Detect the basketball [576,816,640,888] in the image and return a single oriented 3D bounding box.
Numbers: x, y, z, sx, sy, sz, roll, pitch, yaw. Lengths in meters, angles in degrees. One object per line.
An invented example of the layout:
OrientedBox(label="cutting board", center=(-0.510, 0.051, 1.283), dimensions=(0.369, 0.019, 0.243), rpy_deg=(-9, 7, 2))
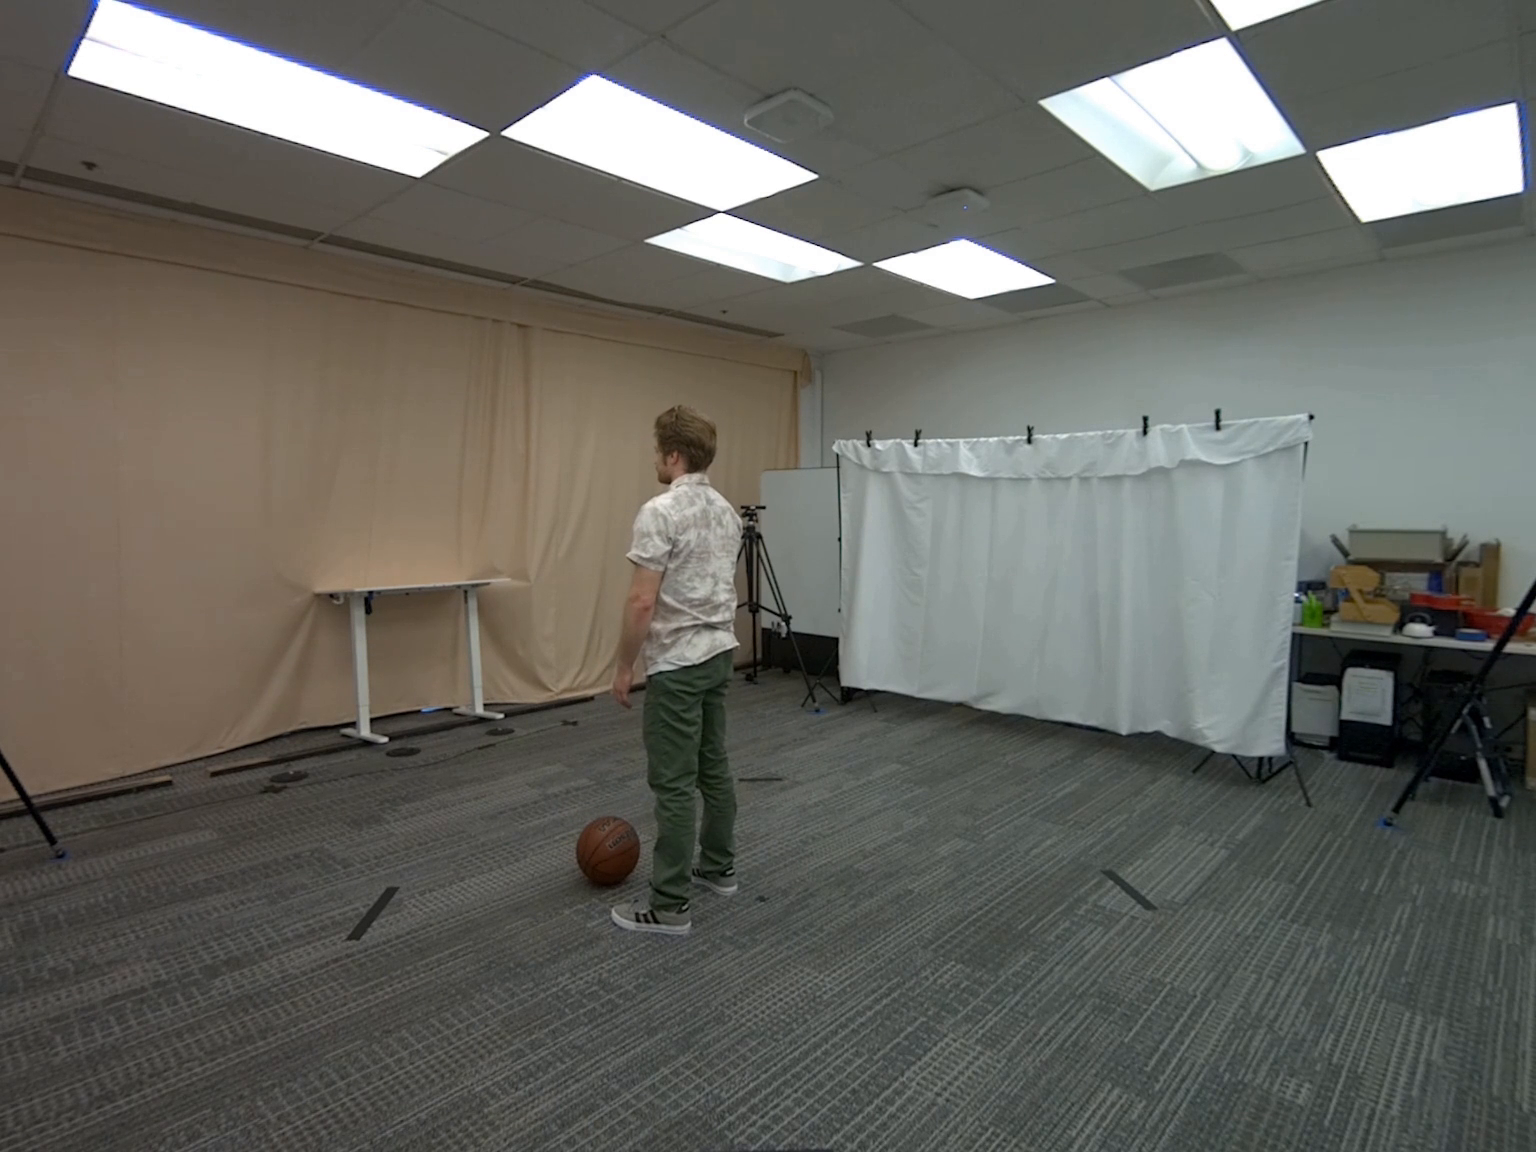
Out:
OrientedBox(label="basketball", center=(-0.591, 1.022, 3.123), dimensions=(0.236, 0.235, 0.237), rpy_deg=(0, 4, -2))
